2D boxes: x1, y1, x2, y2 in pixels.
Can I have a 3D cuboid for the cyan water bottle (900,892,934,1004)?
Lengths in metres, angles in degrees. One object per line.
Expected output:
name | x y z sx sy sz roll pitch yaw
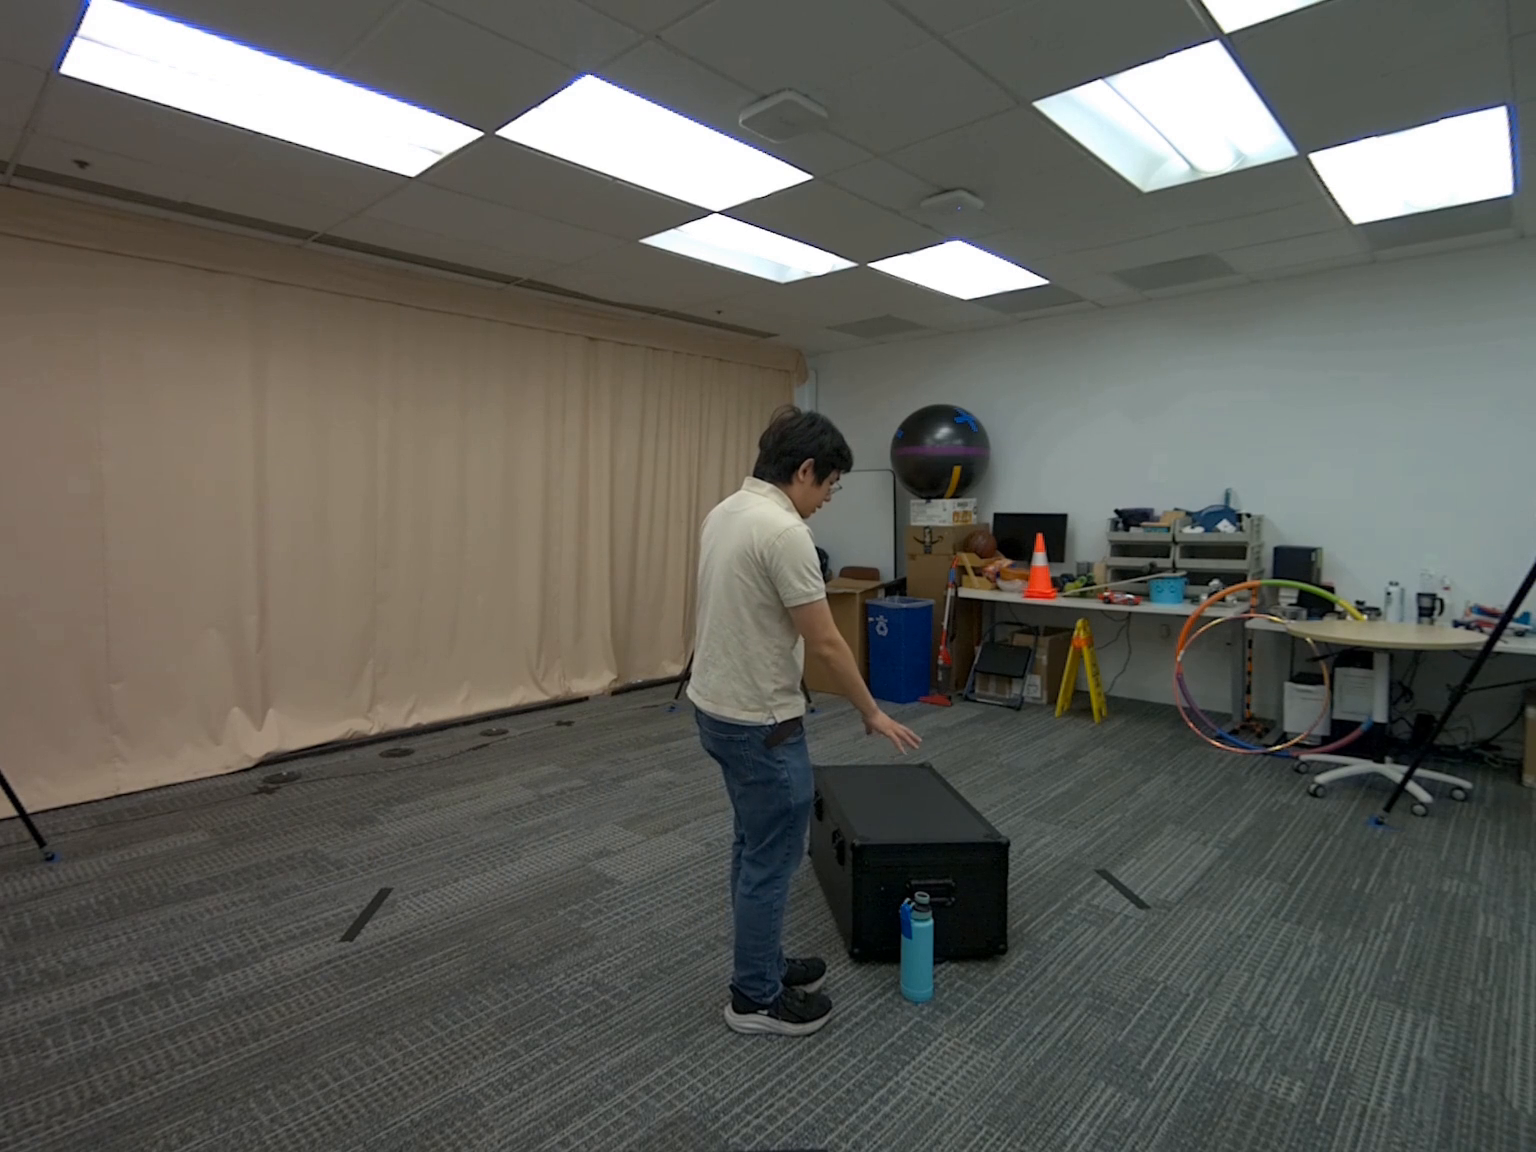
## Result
cyan water bottle | 0.425 1.048 2.405 0.092 0.283 0.092 2 1 -2
